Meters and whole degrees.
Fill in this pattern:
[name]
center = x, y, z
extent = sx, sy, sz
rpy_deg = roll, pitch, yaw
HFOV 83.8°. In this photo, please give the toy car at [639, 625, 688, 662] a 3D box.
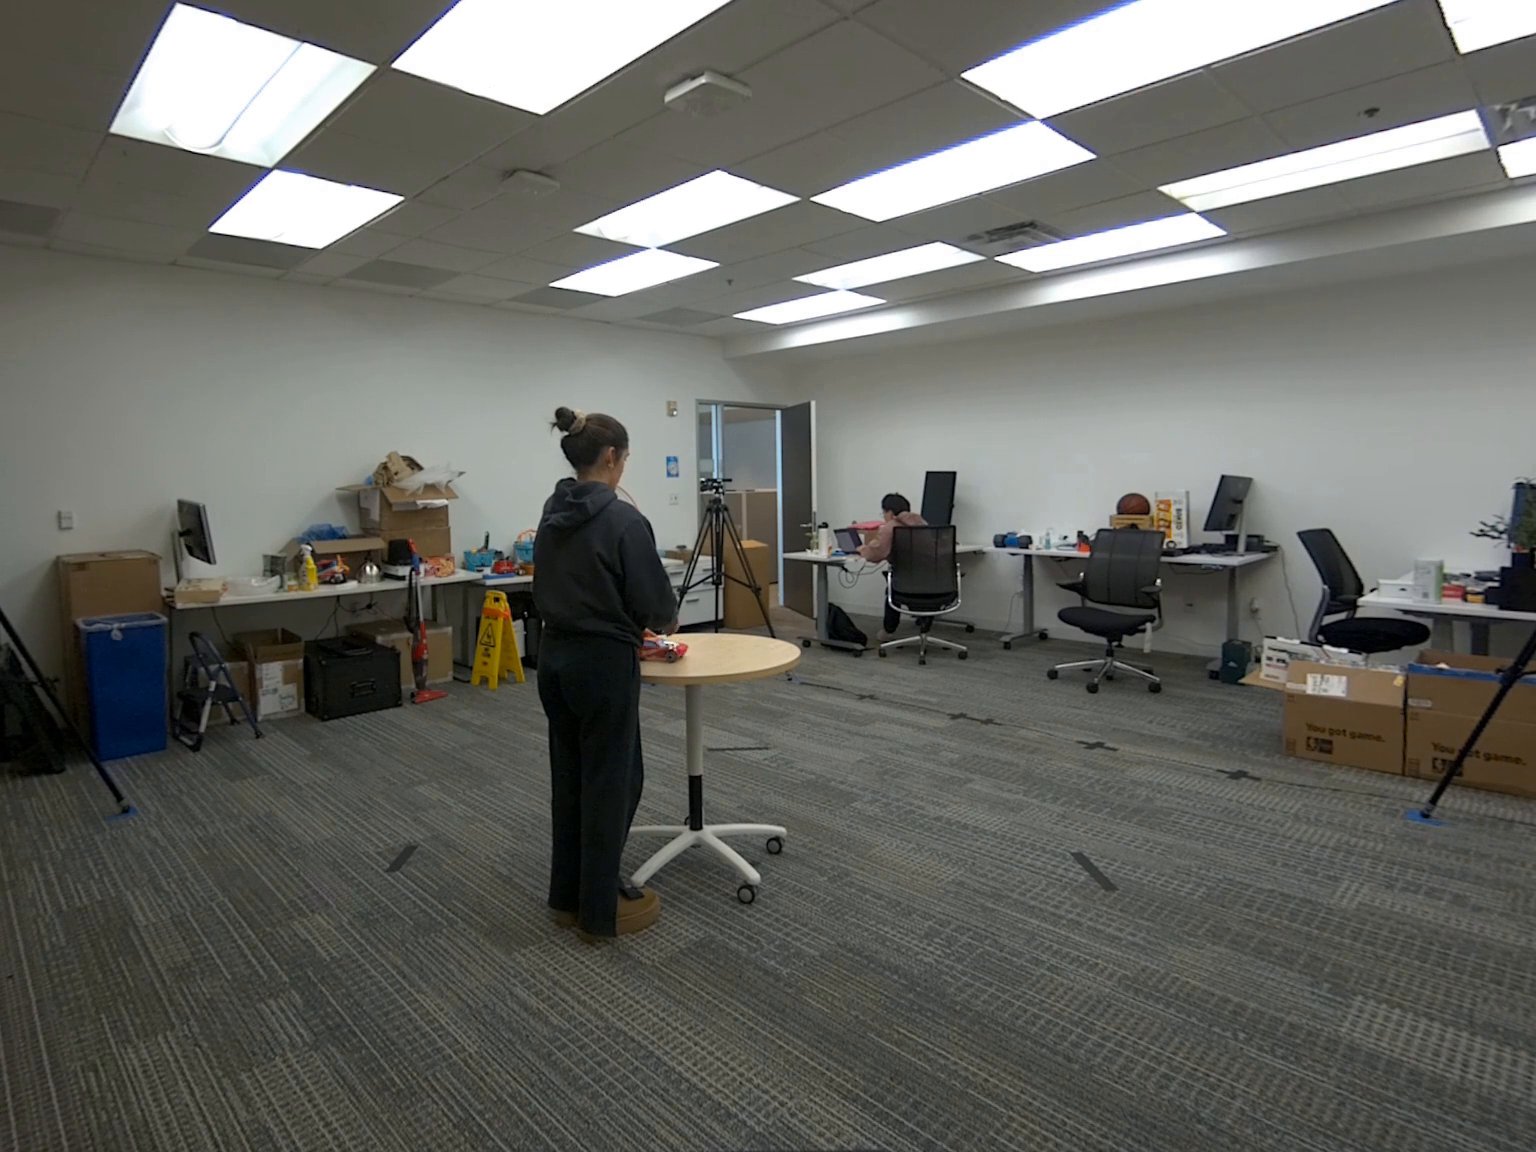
[toy car]
center = -0.406, 0.256, 2.936
extent = 0.258, 0.083, 0.129
rpy_deg = 10, 8, 13
